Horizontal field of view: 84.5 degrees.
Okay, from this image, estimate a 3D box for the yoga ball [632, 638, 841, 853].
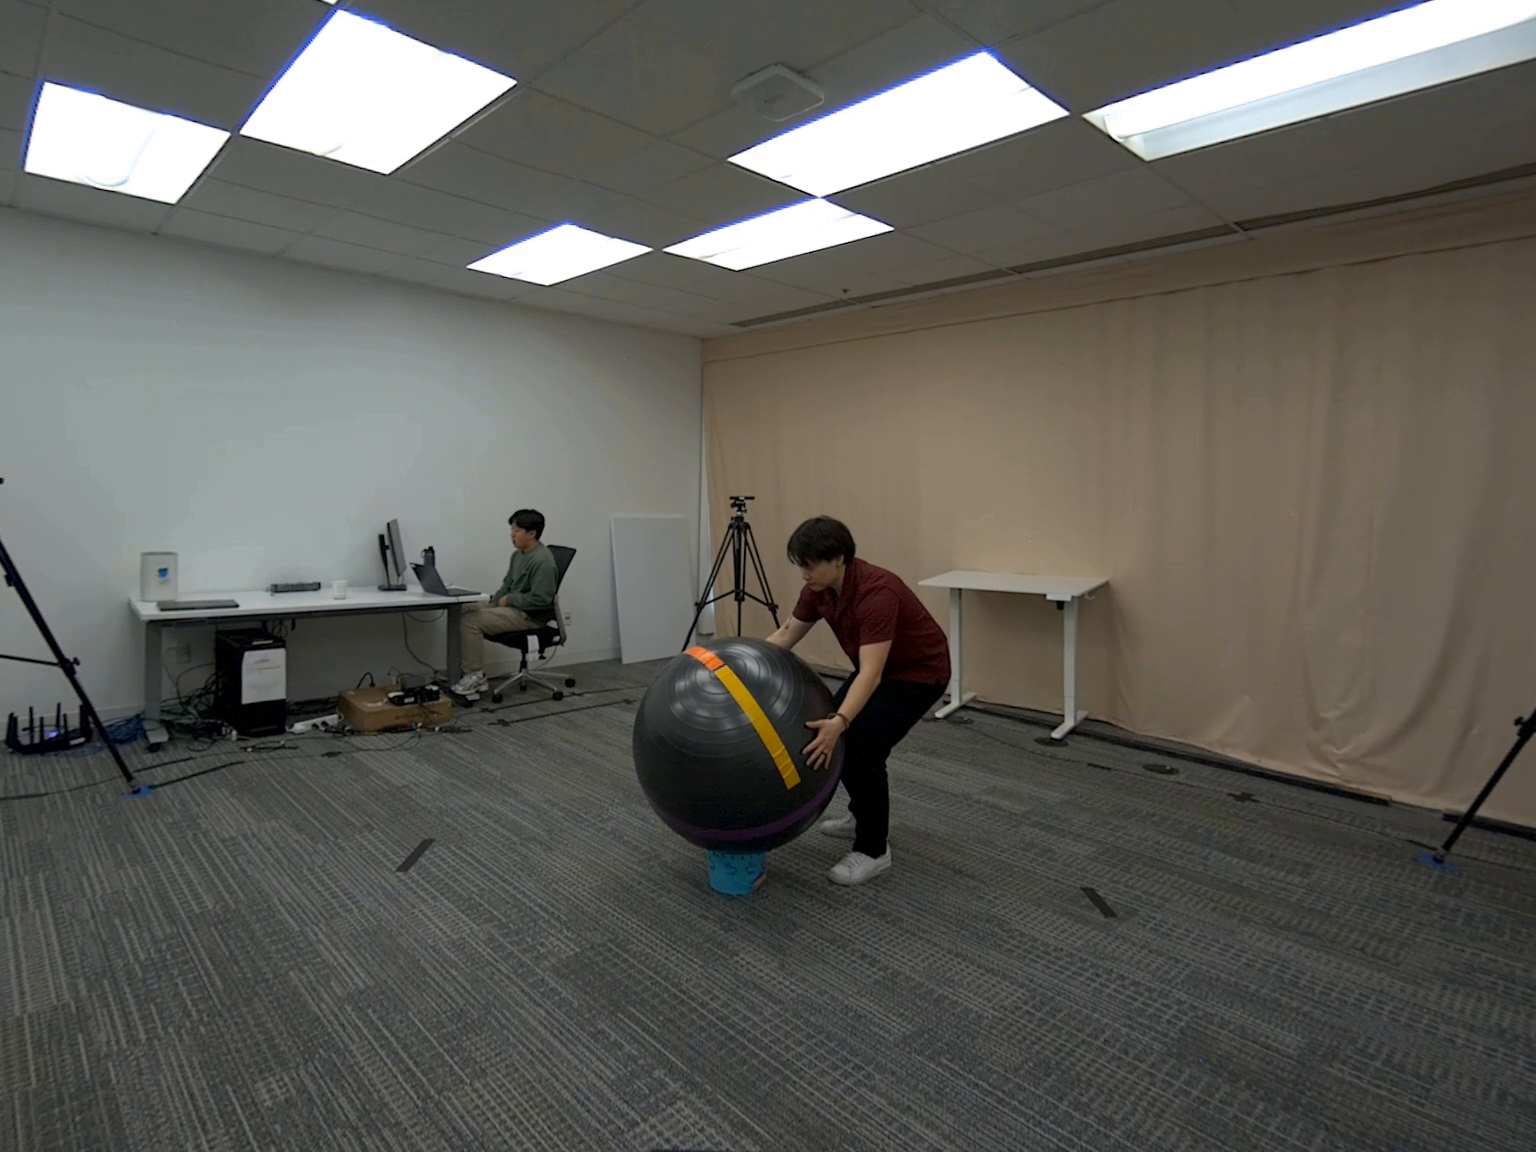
[{"bbox_3d":[-0.117,0.608,3.018,0.757,0.756,0.761,1,4,-1],"label":"yoga ball"}]
